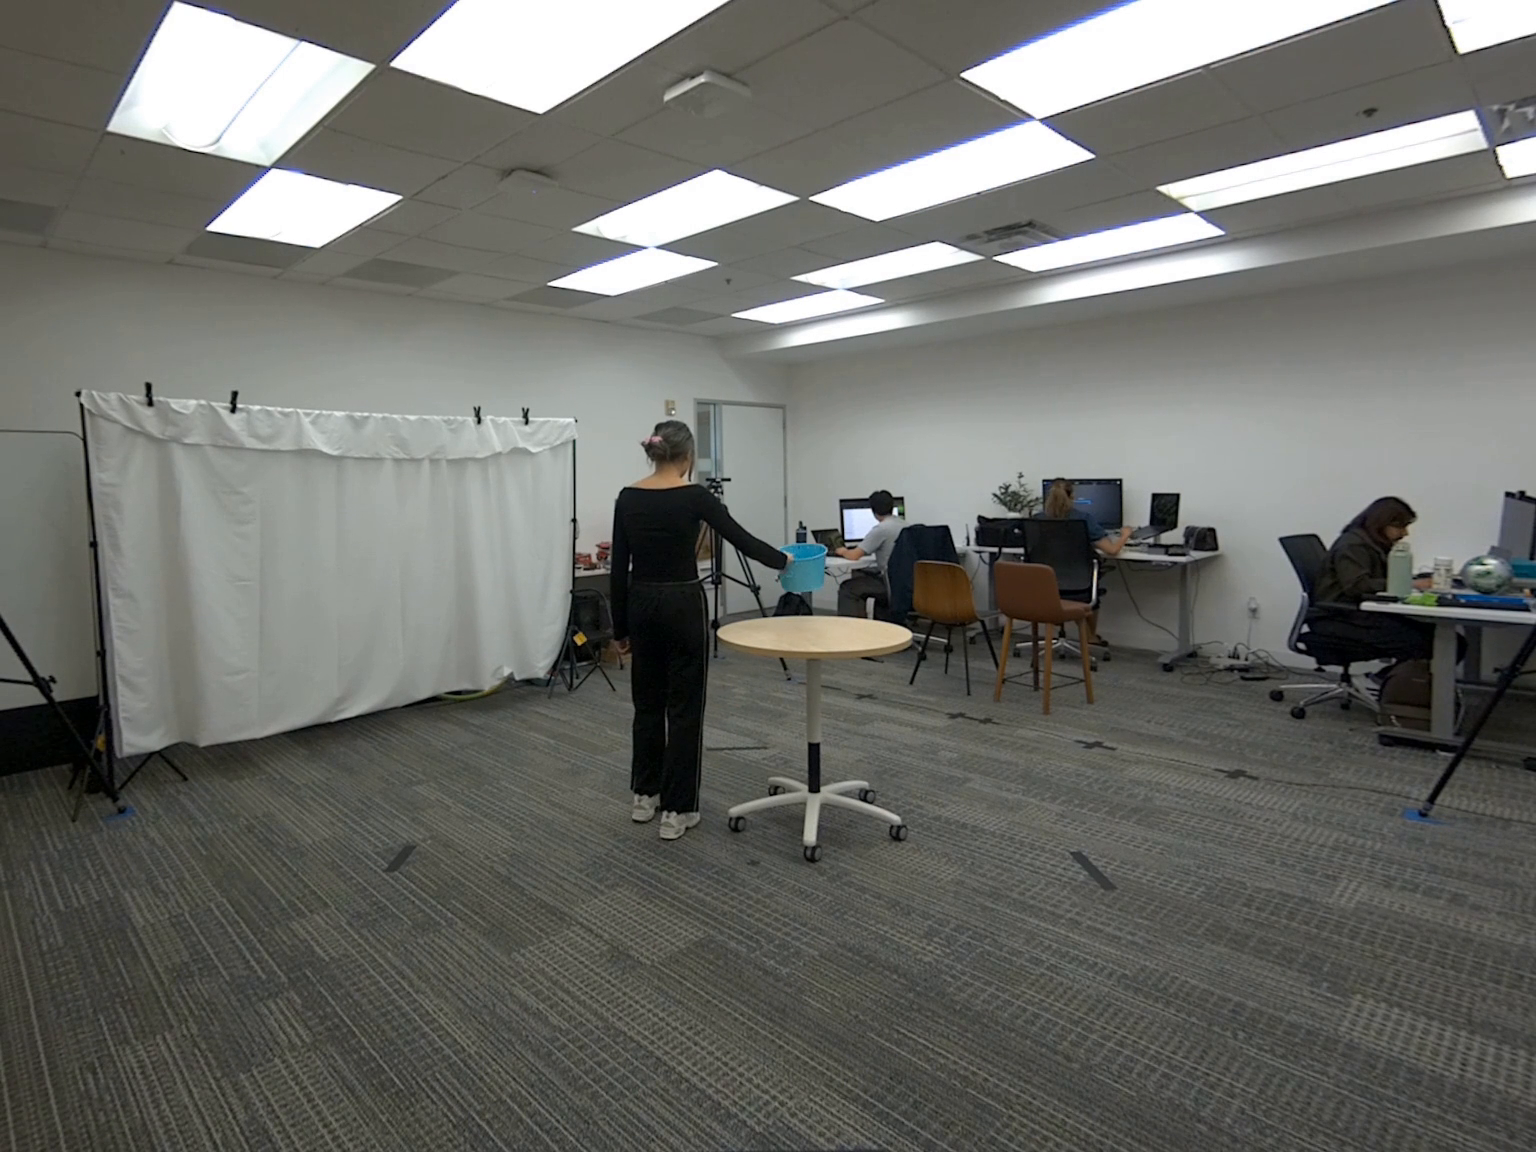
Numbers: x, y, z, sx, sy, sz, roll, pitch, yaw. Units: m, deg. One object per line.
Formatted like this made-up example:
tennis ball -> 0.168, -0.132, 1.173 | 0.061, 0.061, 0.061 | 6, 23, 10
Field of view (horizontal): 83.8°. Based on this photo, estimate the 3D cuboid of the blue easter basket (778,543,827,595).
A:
blue easter basket -> 0.136, -0.028, 3.664 | 0.243, 0.154, 0.247 | -4, 15, -1
